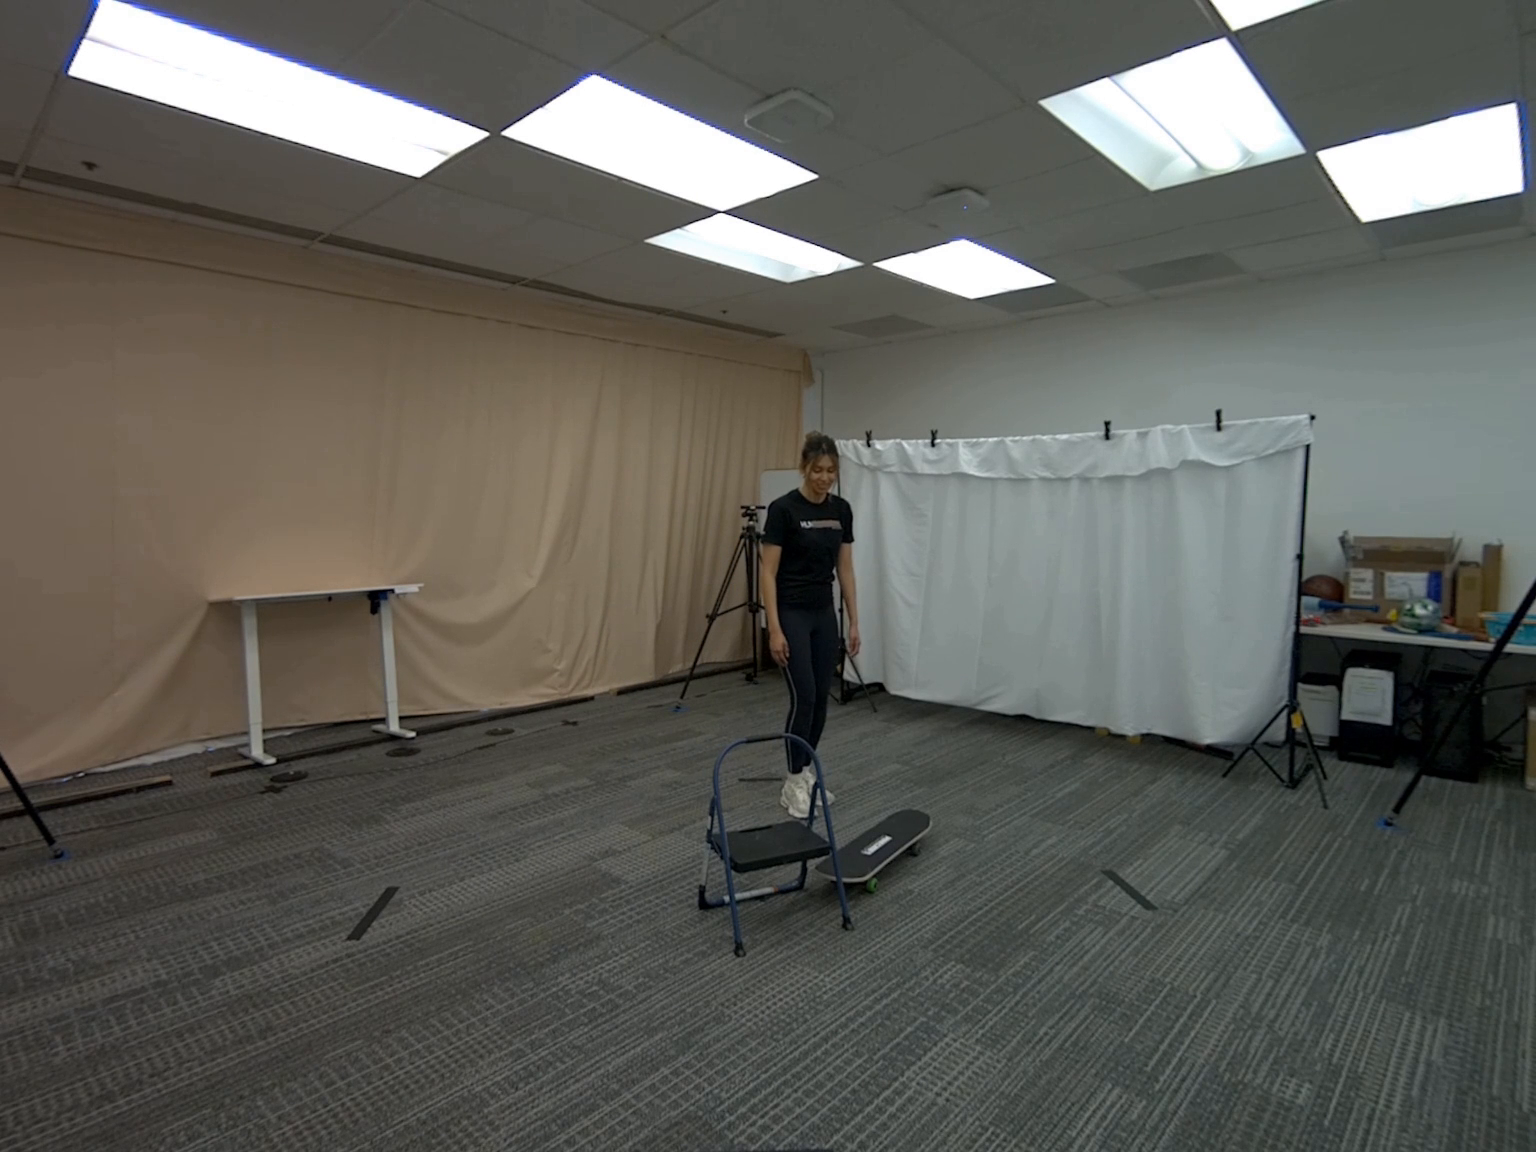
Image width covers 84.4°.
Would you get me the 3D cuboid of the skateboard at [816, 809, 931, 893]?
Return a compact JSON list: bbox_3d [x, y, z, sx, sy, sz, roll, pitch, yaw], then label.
[{"bbox_3d":[0.422,1.064,3.234,0.199,0.110,0.763,2,5,33],"label":"skateboard"}]
